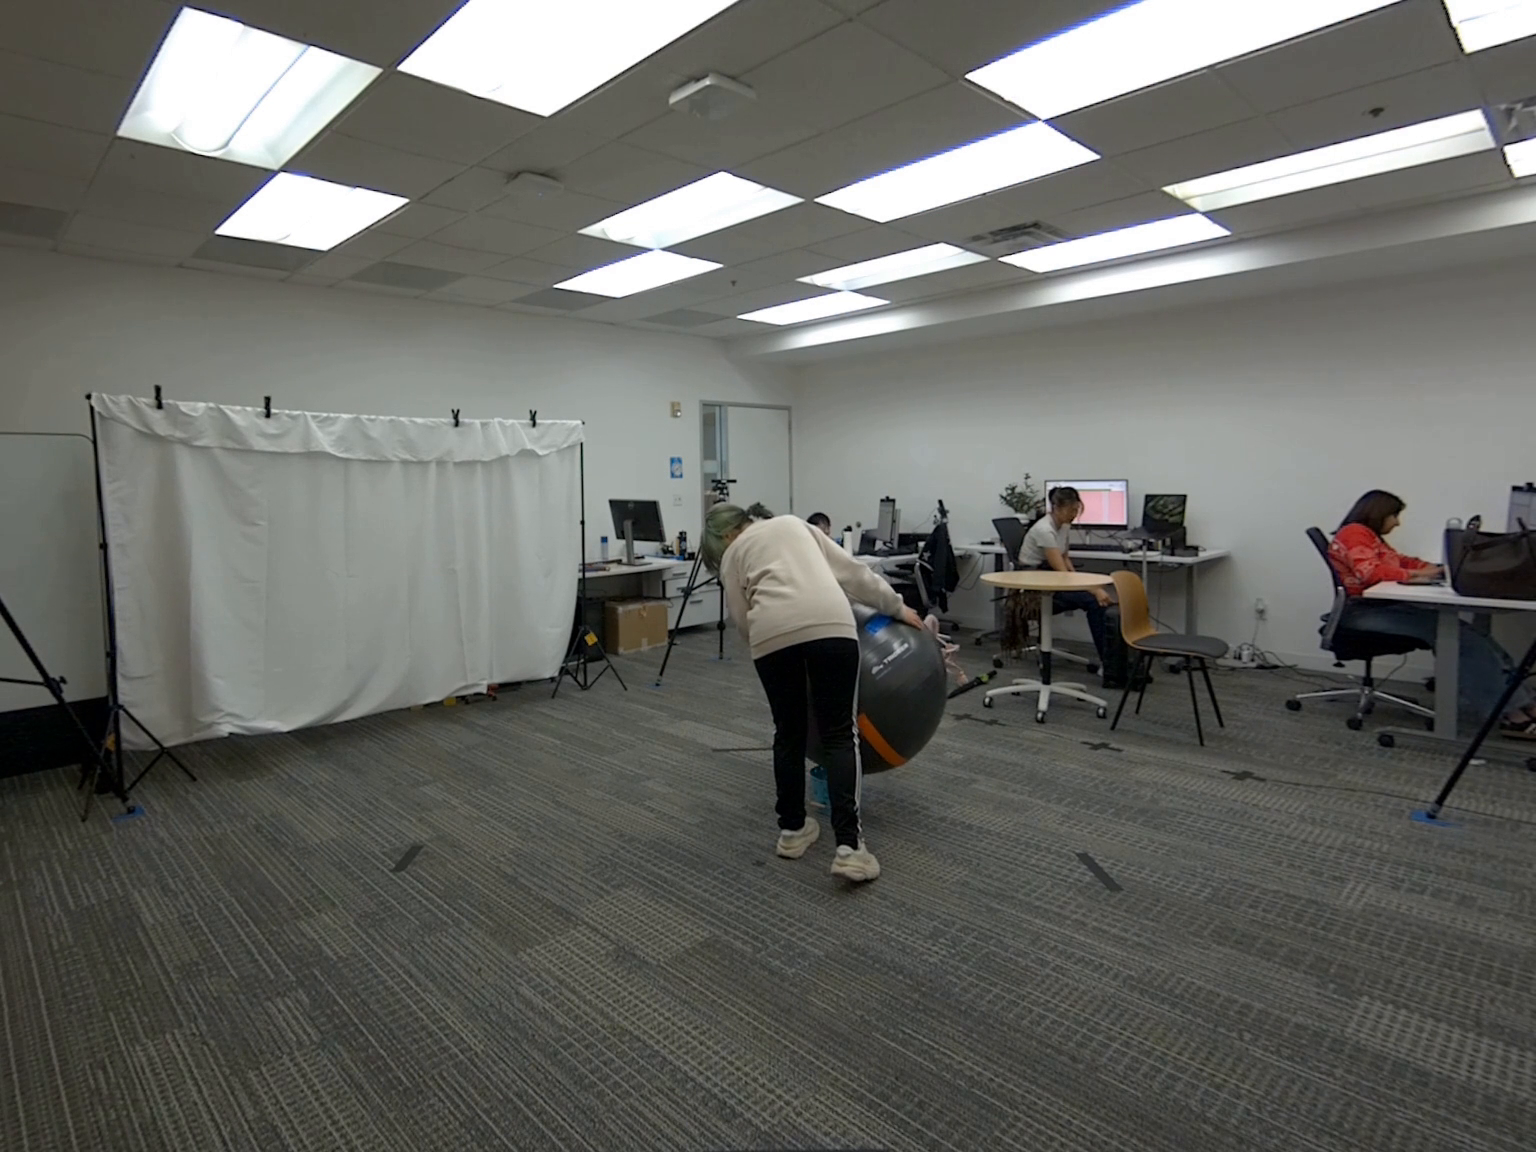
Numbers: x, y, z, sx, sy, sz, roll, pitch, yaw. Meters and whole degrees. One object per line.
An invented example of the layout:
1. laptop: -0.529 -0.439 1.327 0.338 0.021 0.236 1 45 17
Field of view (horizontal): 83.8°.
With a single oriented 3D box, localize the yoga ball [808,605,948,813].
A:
1. yoga ball: 0.370 0.438 3.600 0.757 0.755 0.762 -1 5 -2
